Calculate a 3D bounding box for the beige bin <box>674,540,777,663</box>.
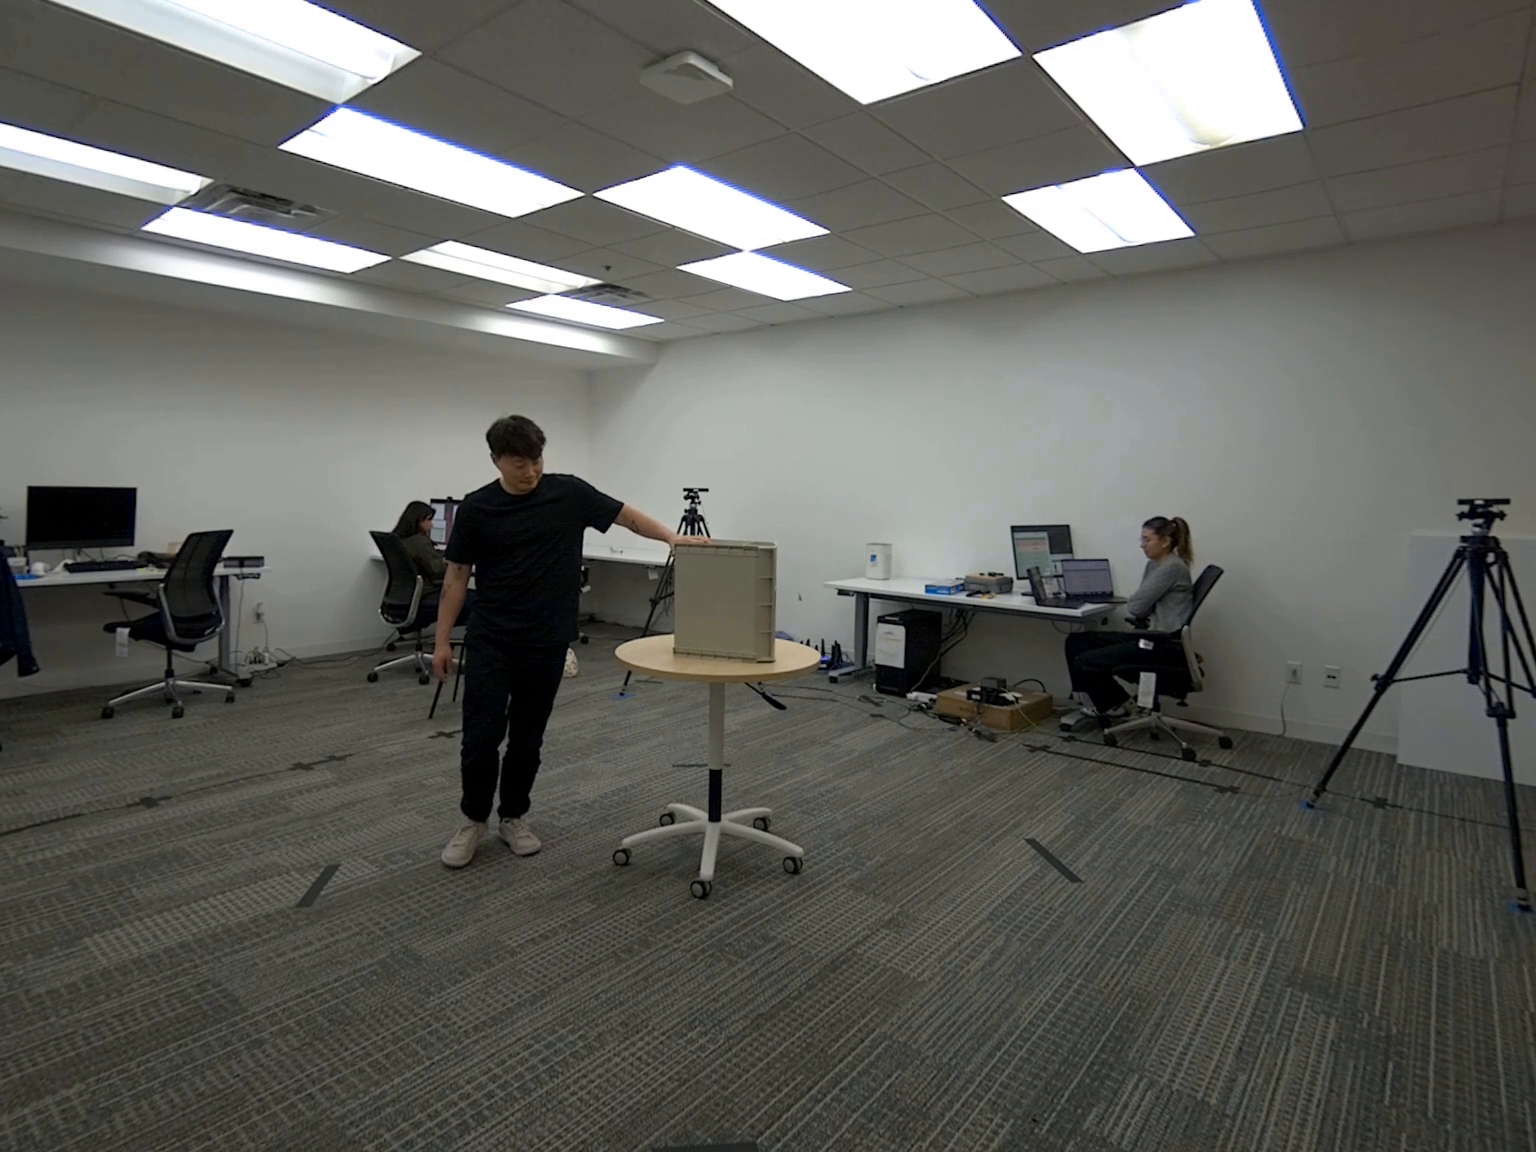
[{"bbox_3d":[-0.157,0.082,3.088,0.384,0.420,0.186,3,6,16],"label":"beige bin"}]
